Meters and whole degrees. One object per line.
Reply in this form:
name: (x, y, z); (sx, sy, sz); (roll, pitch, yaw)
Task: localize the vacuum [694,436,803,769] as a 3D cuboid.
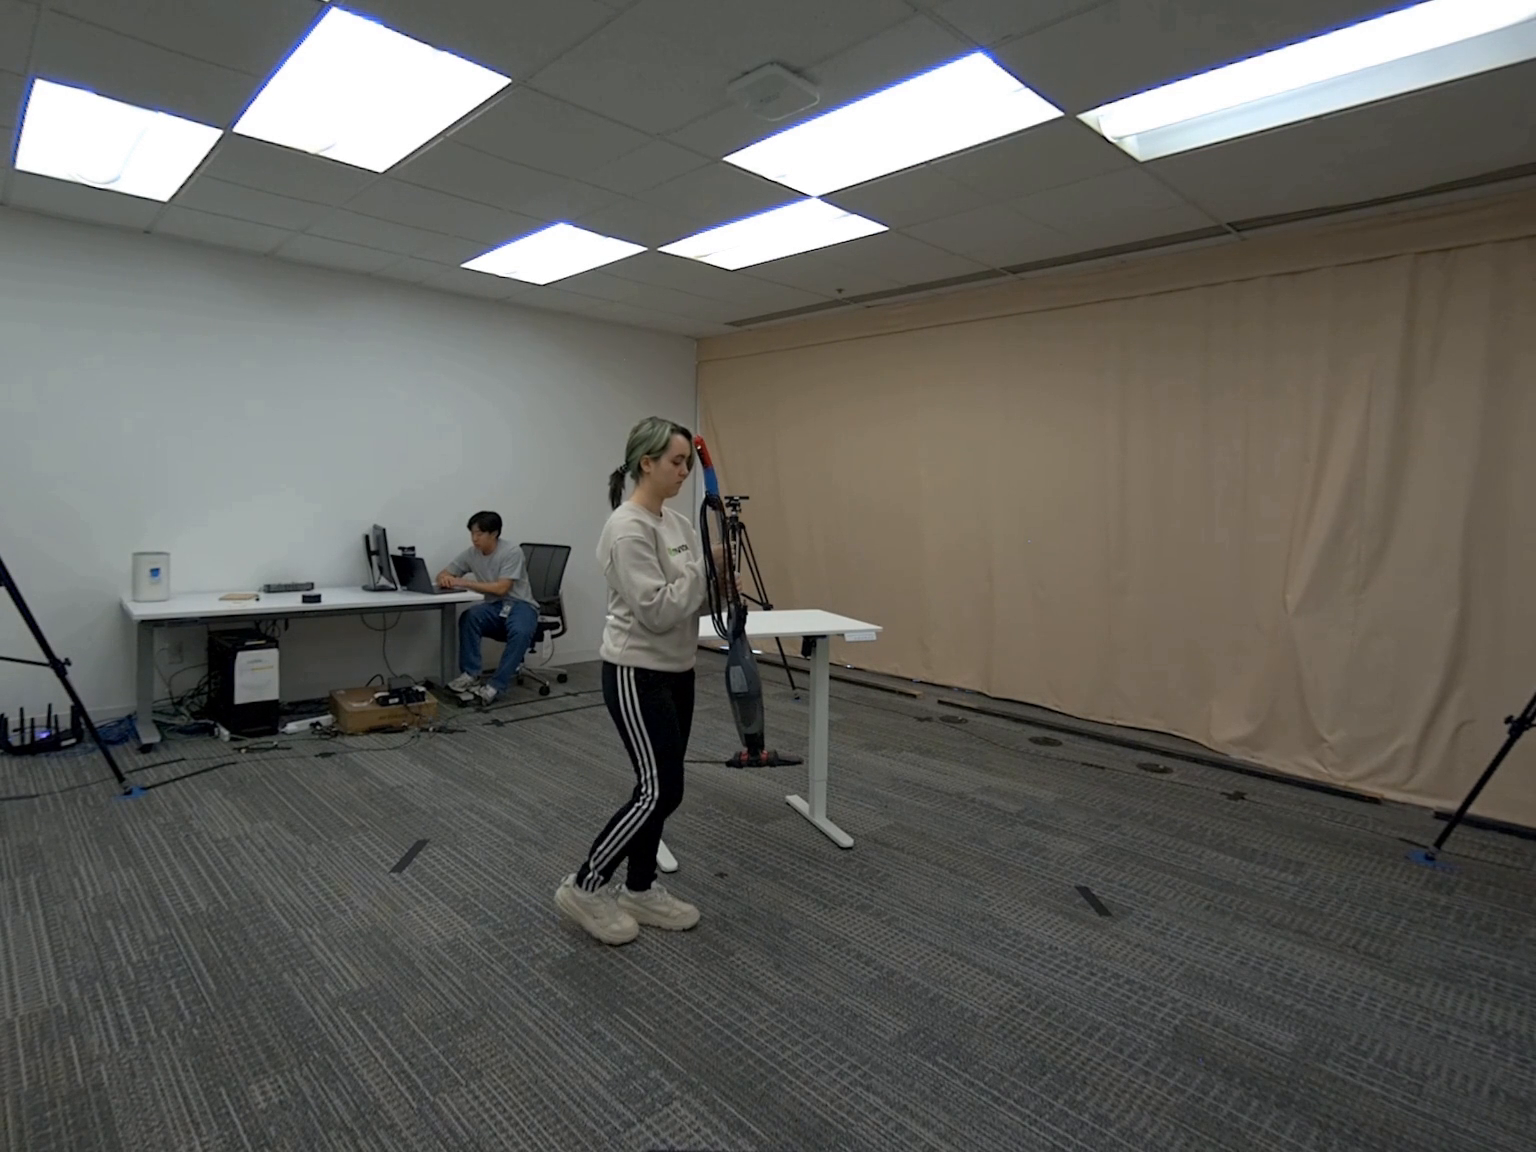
vacuum: (-0.125, 0.103, 2.564); (0.256, 1.037, 0.144); (-6, 14, 17)
